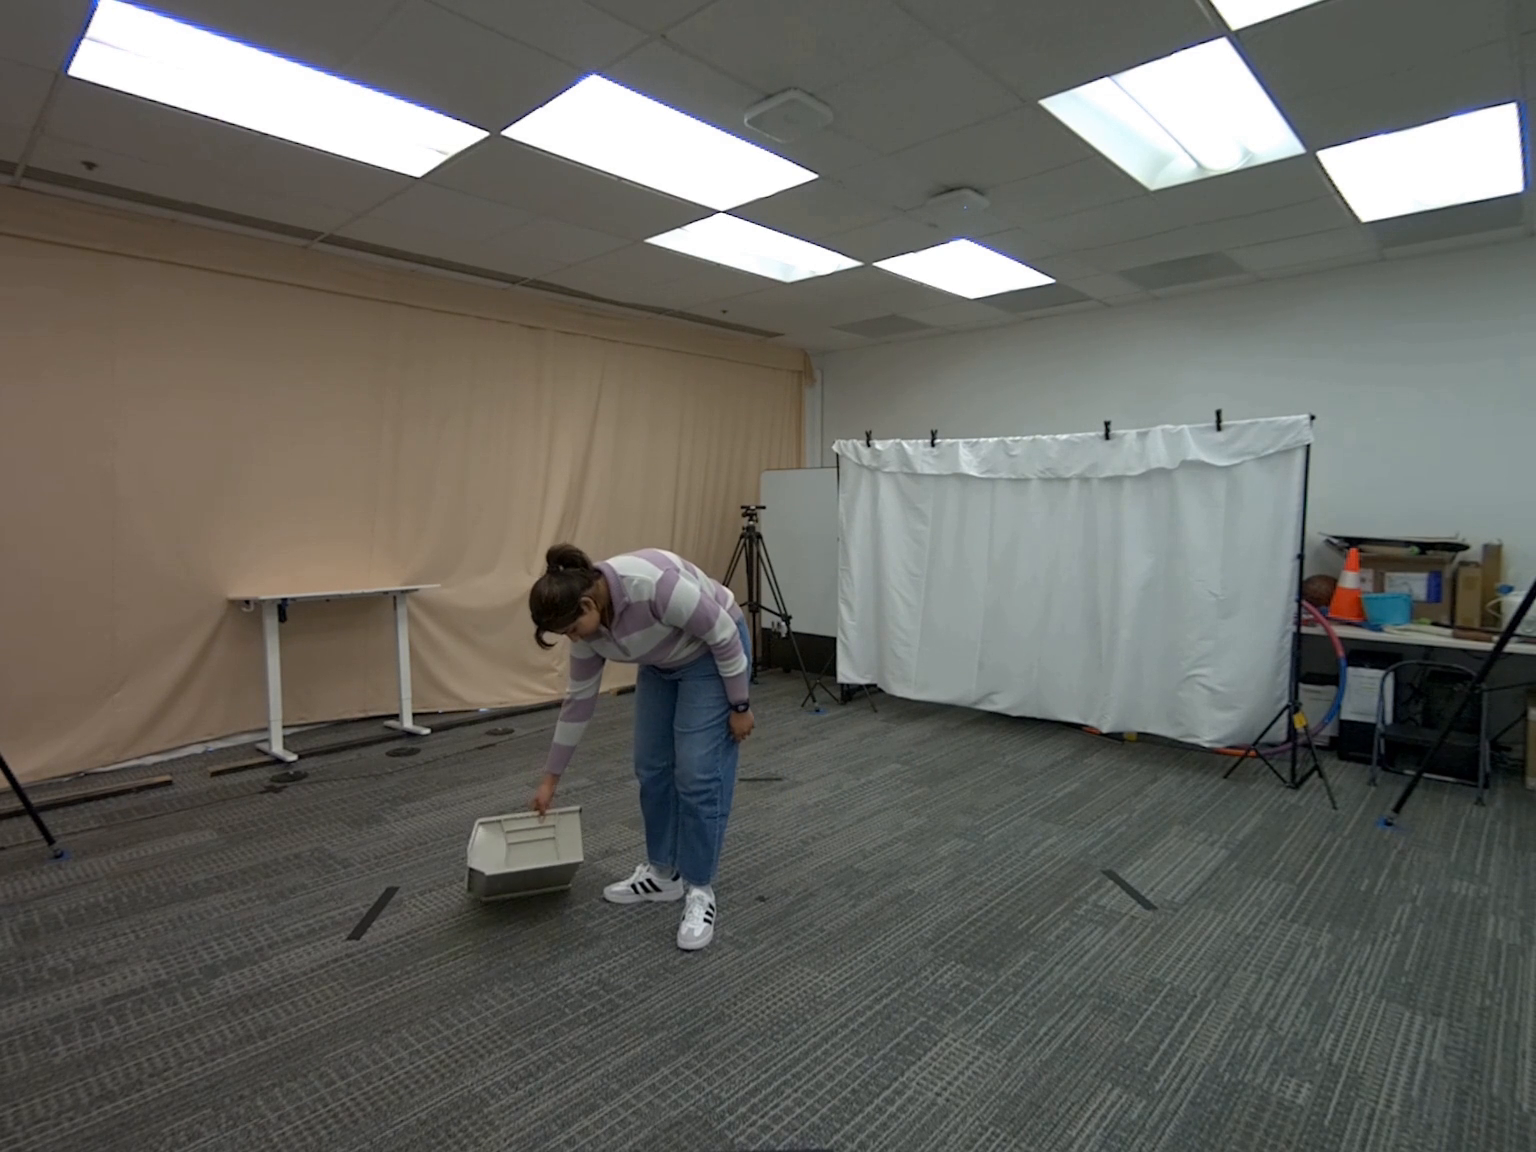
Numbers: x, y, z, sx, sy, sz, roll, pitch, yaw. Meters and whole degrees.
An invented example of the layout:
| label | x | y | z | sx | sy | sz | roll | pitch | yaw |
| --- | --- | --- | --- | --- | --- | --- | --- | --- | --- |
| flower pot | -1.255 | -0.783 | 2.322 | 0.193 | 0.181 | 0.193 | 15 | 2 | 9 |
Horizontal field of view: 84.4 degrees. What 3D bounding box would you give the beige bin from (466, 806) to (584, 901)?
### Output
| label | x | y | z | sx | sy | sz | roll | pitch | yaw |
| --- | --- | --- | --- | --- | --- | --- | --- | --- | --- |
| beige bin | -0.844 | 0.973 | 2.904 | 0.370 | 0.193 | 0.421 | 0 | -31 | -19 |
